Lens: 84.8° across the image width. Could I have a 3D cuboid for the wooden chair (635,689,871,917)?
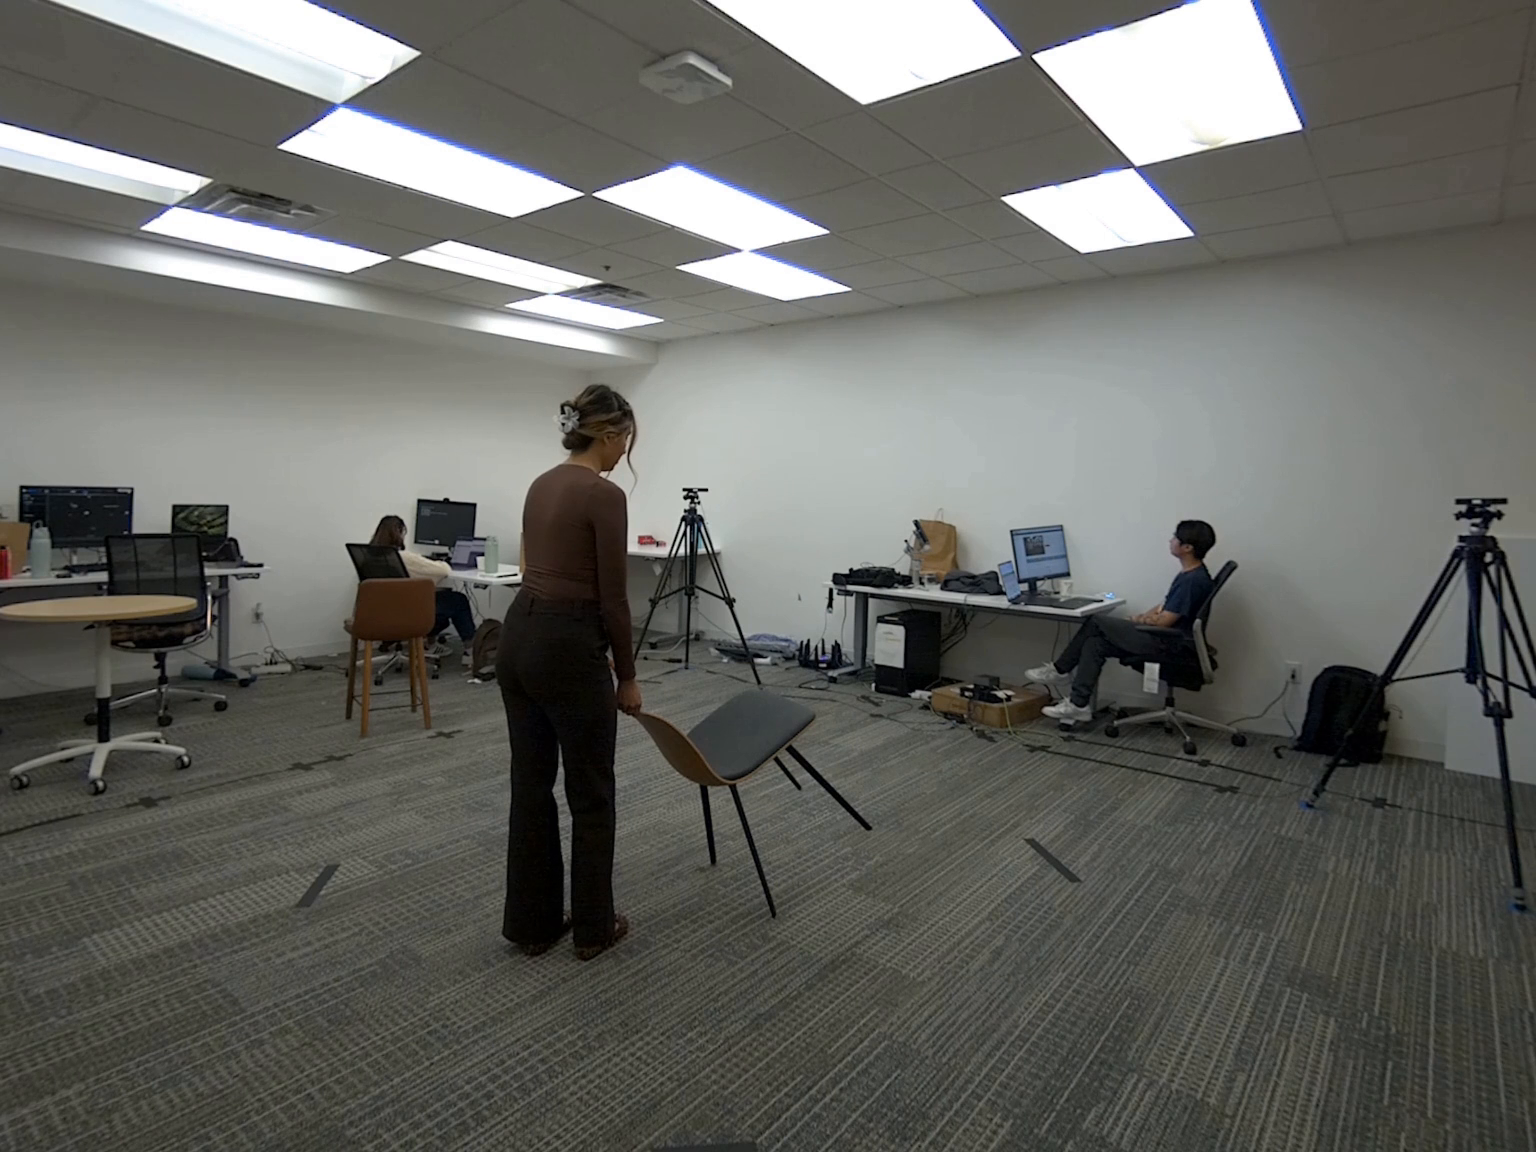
[{"bbox_3d":[-0.108,0.602,2.925,0.520,0.857,0.492,-38,20,-21],"label":"wooden chair"}]
